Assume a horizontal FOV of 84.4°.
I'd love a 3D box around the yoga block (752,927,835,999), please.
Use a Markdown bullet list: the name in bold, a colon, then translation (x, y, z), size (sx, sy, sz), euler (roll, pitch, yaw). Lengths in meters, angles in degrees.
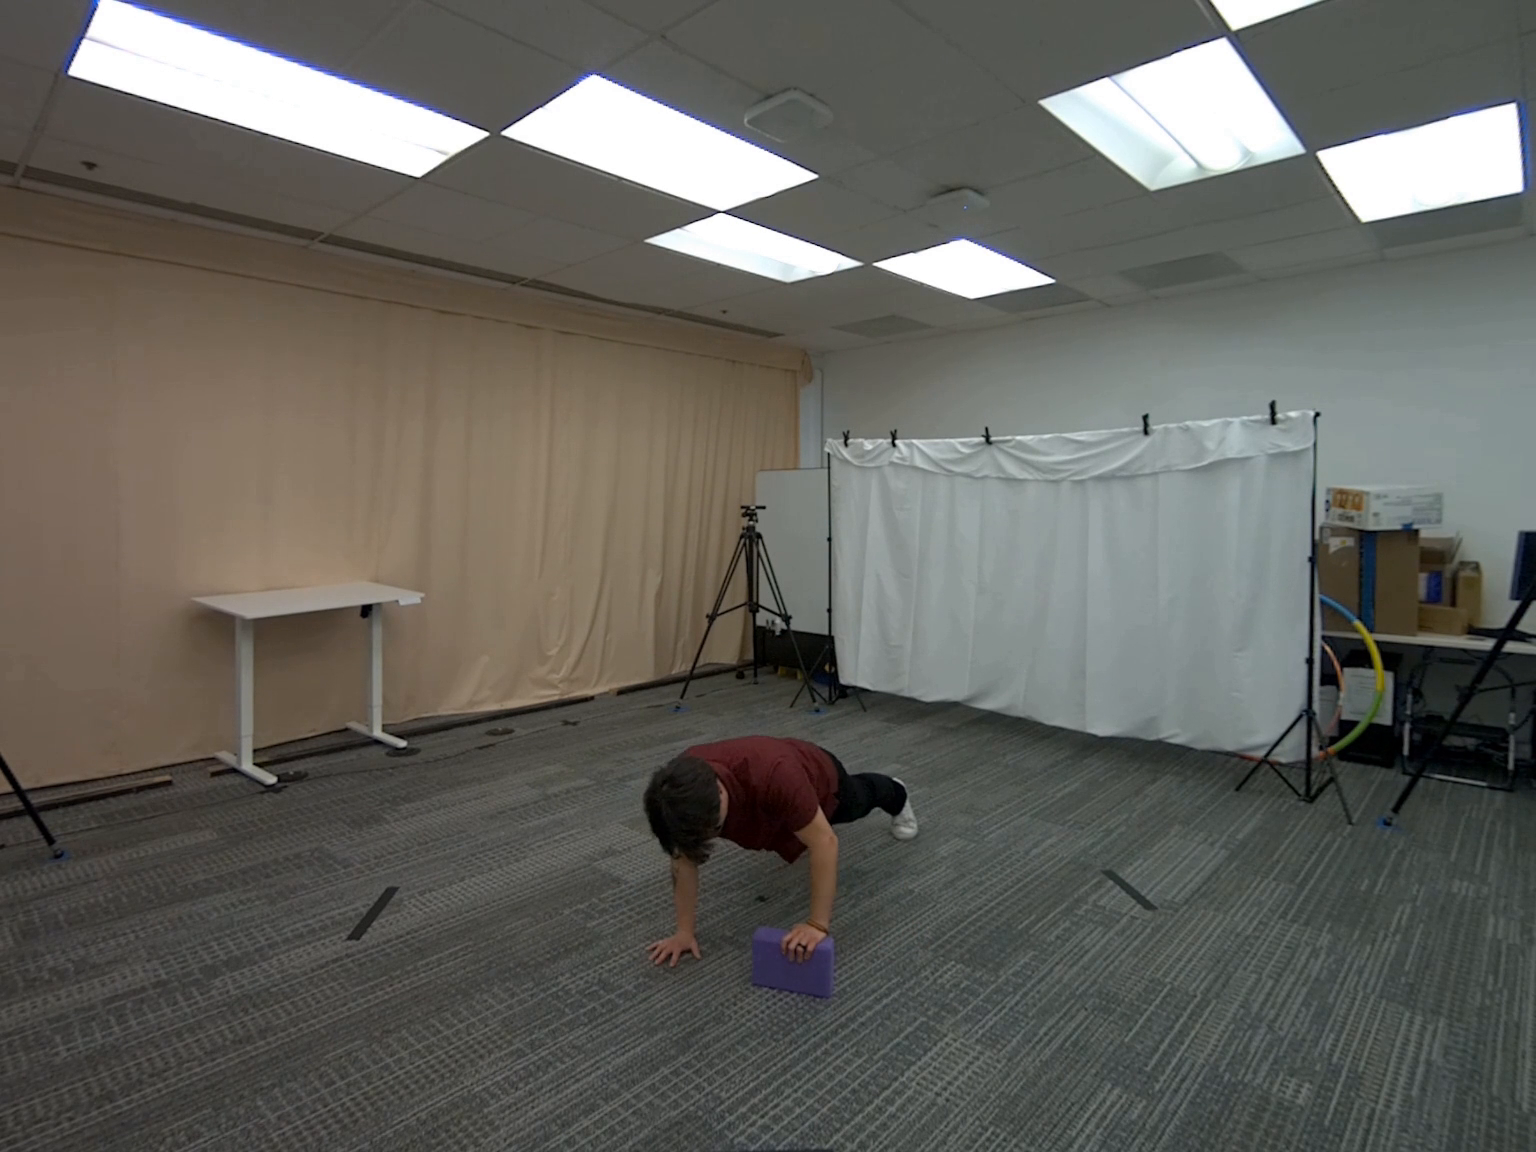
- **yoga block**: translation (0.075, 1.106, 2.446), size (0.233, 0.149, 0.075), euler (1, 2, 17)
